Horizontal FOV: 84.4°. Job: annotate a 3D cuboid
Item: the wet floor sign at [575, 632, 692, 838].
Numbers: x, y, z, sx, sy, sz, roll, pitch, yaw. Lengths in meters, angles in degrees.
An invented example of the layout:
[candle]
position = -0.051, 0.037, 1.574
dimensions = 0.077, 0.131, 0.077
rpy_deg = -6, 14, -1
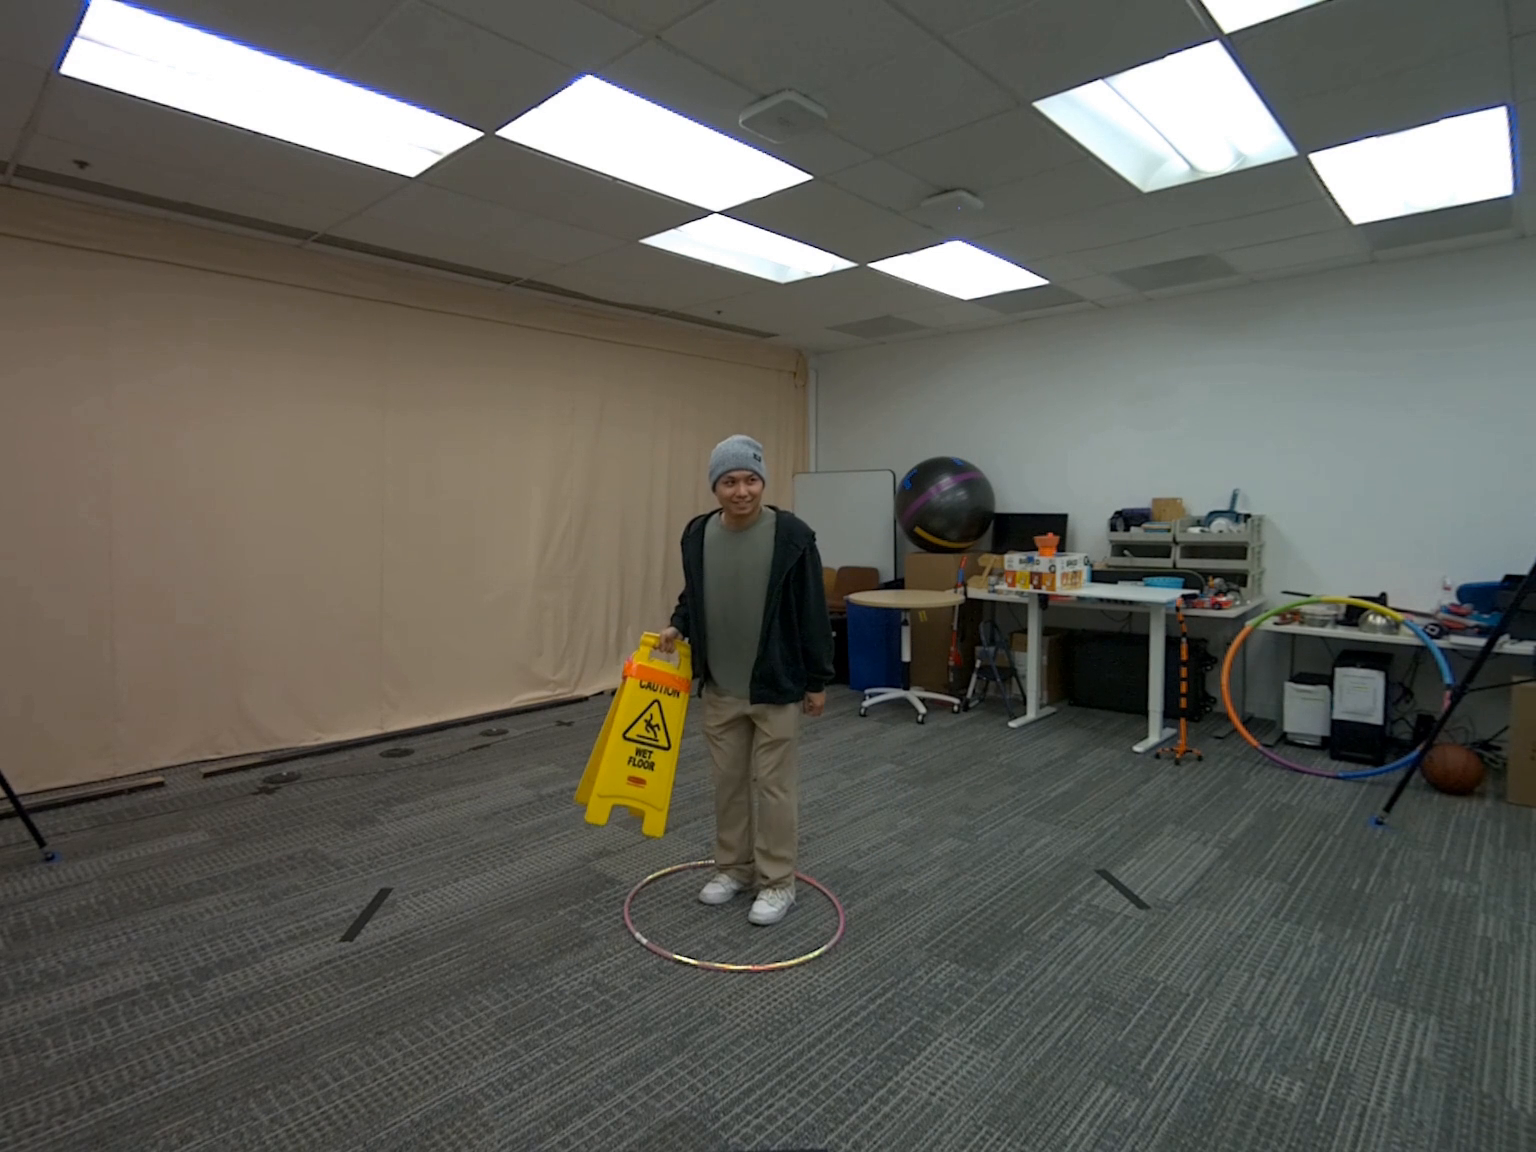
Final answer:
[wet floor sign]
position = -0.434, 0.533, 2.955
dimensions = 0.277, 0.647, 0.295
rpy_deg = 16, -5, -17
